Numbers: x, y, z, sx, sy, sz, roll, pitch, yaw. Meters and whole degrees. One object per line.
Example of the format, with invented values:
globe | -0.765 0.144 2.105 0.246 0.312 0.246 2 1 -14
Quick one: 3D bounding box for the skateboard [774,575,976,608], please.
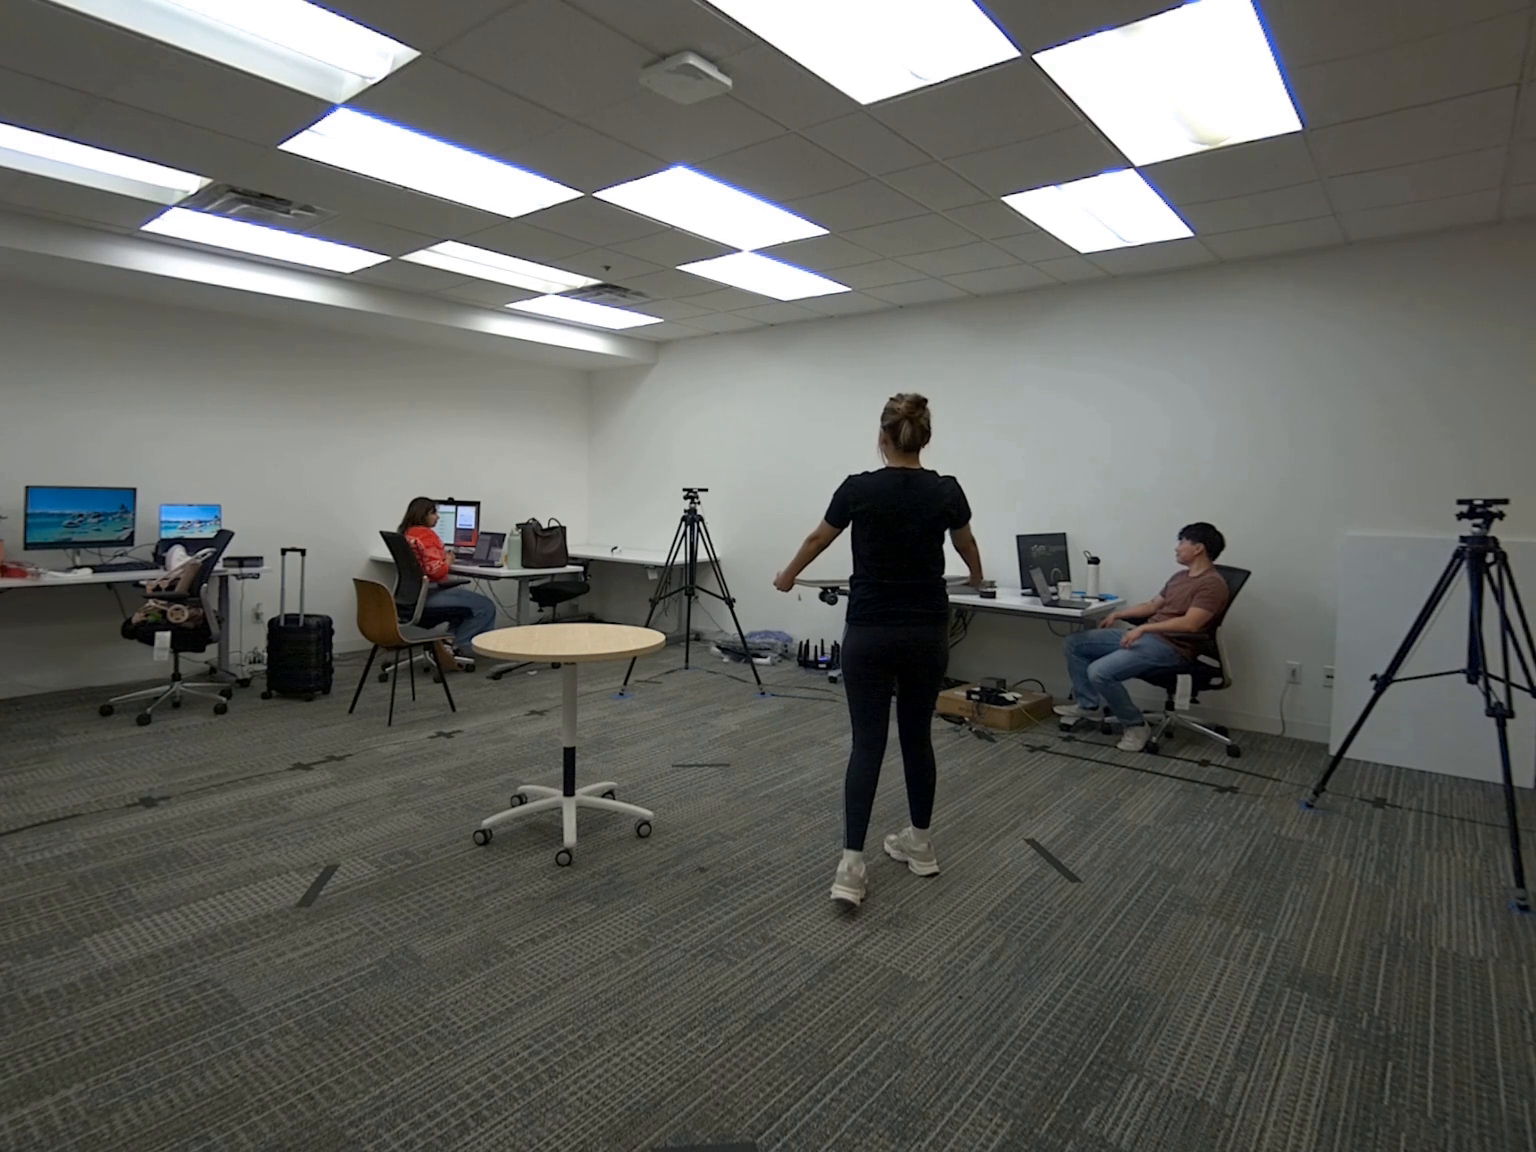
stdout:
skateboard | 0.424 0.059 3.444 0.784 0.110 0.194 0 4 -1
